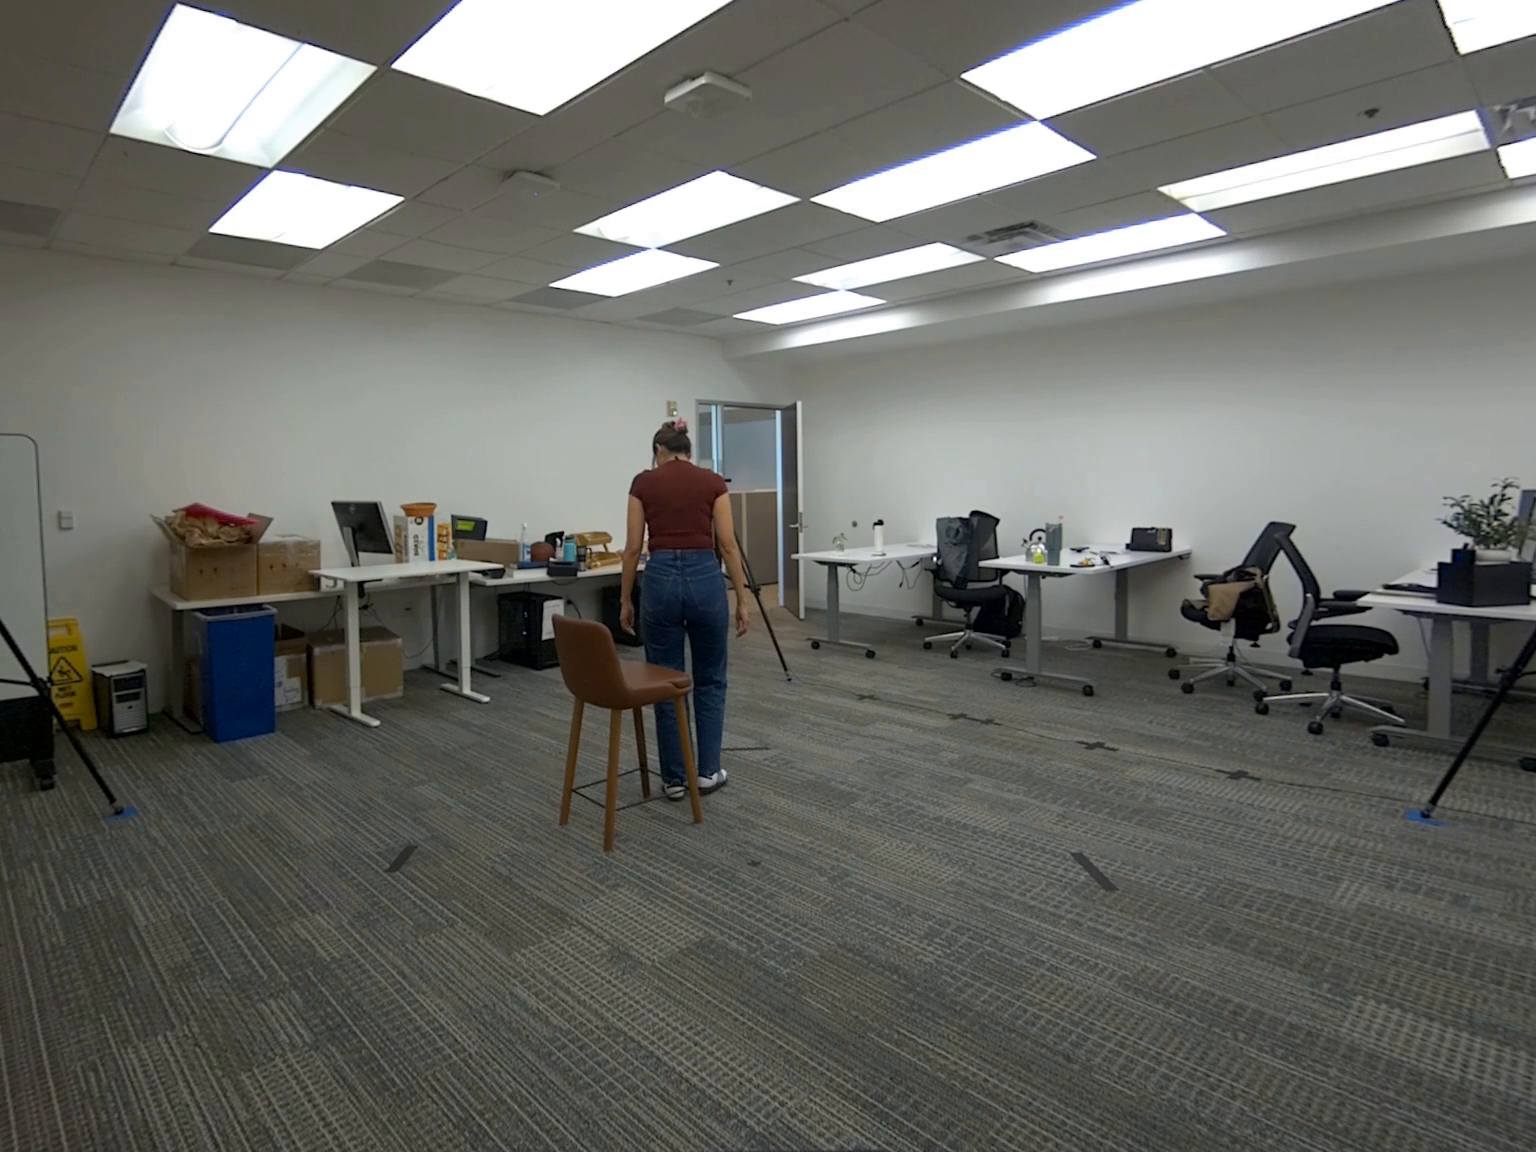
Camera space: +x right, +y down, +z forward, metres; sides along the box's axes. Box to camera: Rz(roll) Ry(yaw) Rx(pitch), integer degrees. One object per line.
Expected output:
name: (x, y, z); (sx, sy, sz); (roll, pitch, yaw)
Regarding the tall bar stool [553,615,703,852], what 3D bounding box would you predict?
tall bar stool: (-0.585, 0.578, 3.474); (0.456, 0.886, 0.470); (-6, 6, -40)
